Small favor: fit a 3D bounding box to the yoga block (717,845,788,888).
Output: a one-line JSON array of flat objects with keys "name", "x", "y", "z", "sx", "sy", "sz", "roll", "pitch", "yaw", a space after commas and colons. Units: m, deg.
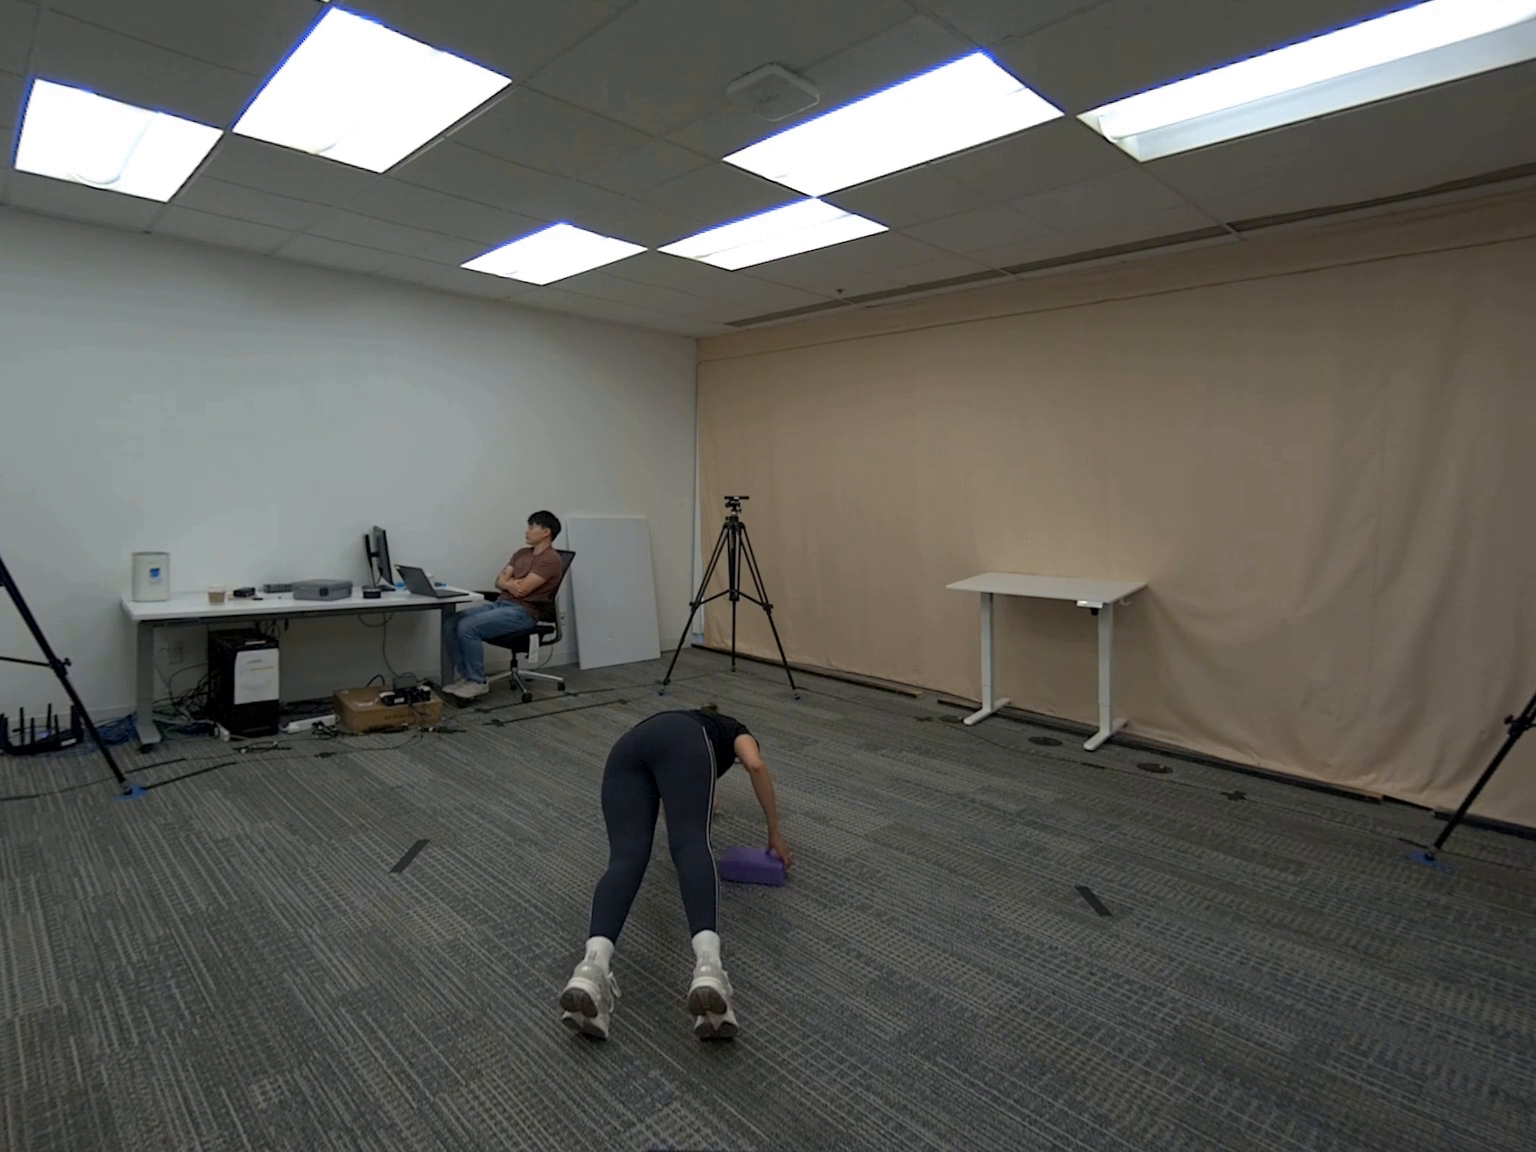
[{"name": "yoga block", "x": -0.060, "y": 1.062, "z": 3.099, "sx": 0.231, "sy": 0.076, "sz": 0.148, "roll": 4, "pitch": 5, "yaw": 9}]
